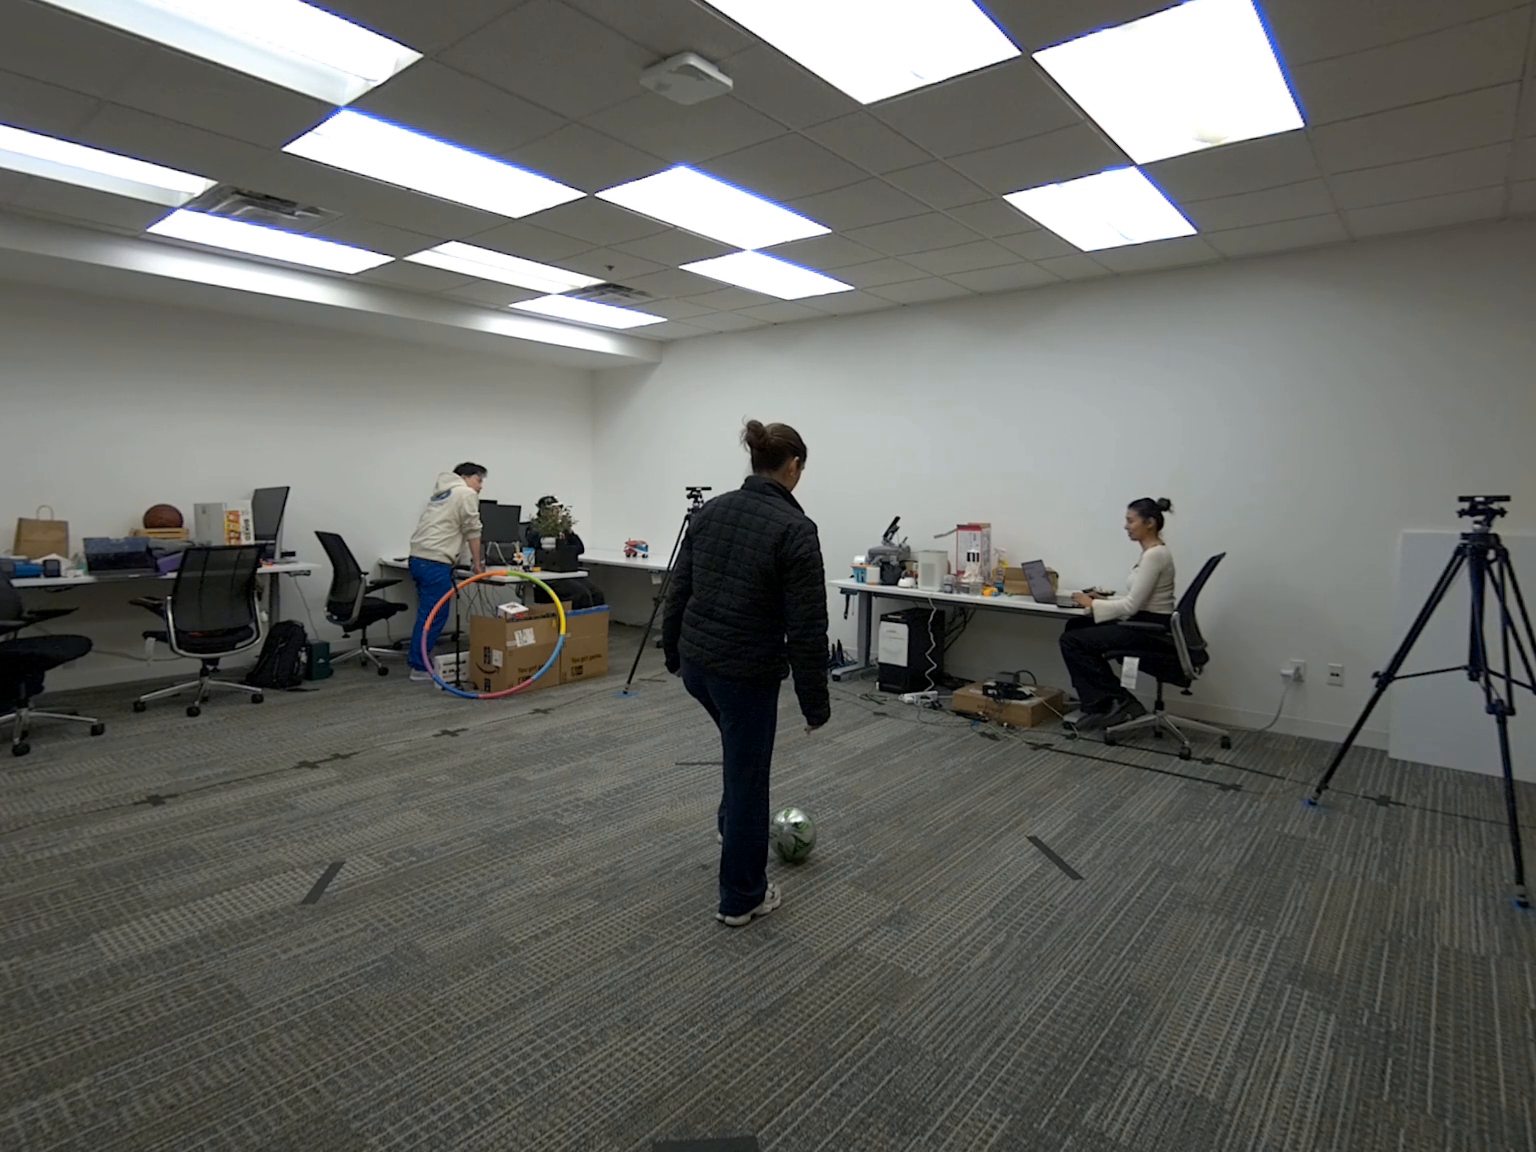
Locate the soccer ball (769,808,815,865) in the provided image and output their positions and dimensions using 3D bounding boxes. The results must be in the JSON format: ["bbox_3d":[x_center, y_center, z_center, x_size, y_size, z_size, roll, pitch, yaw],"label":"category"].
[{"bbox_3d":[0.086,0.967,3.205,0.187,0.187,0.188,1,4,-2],"label":"soccer ball"}]
